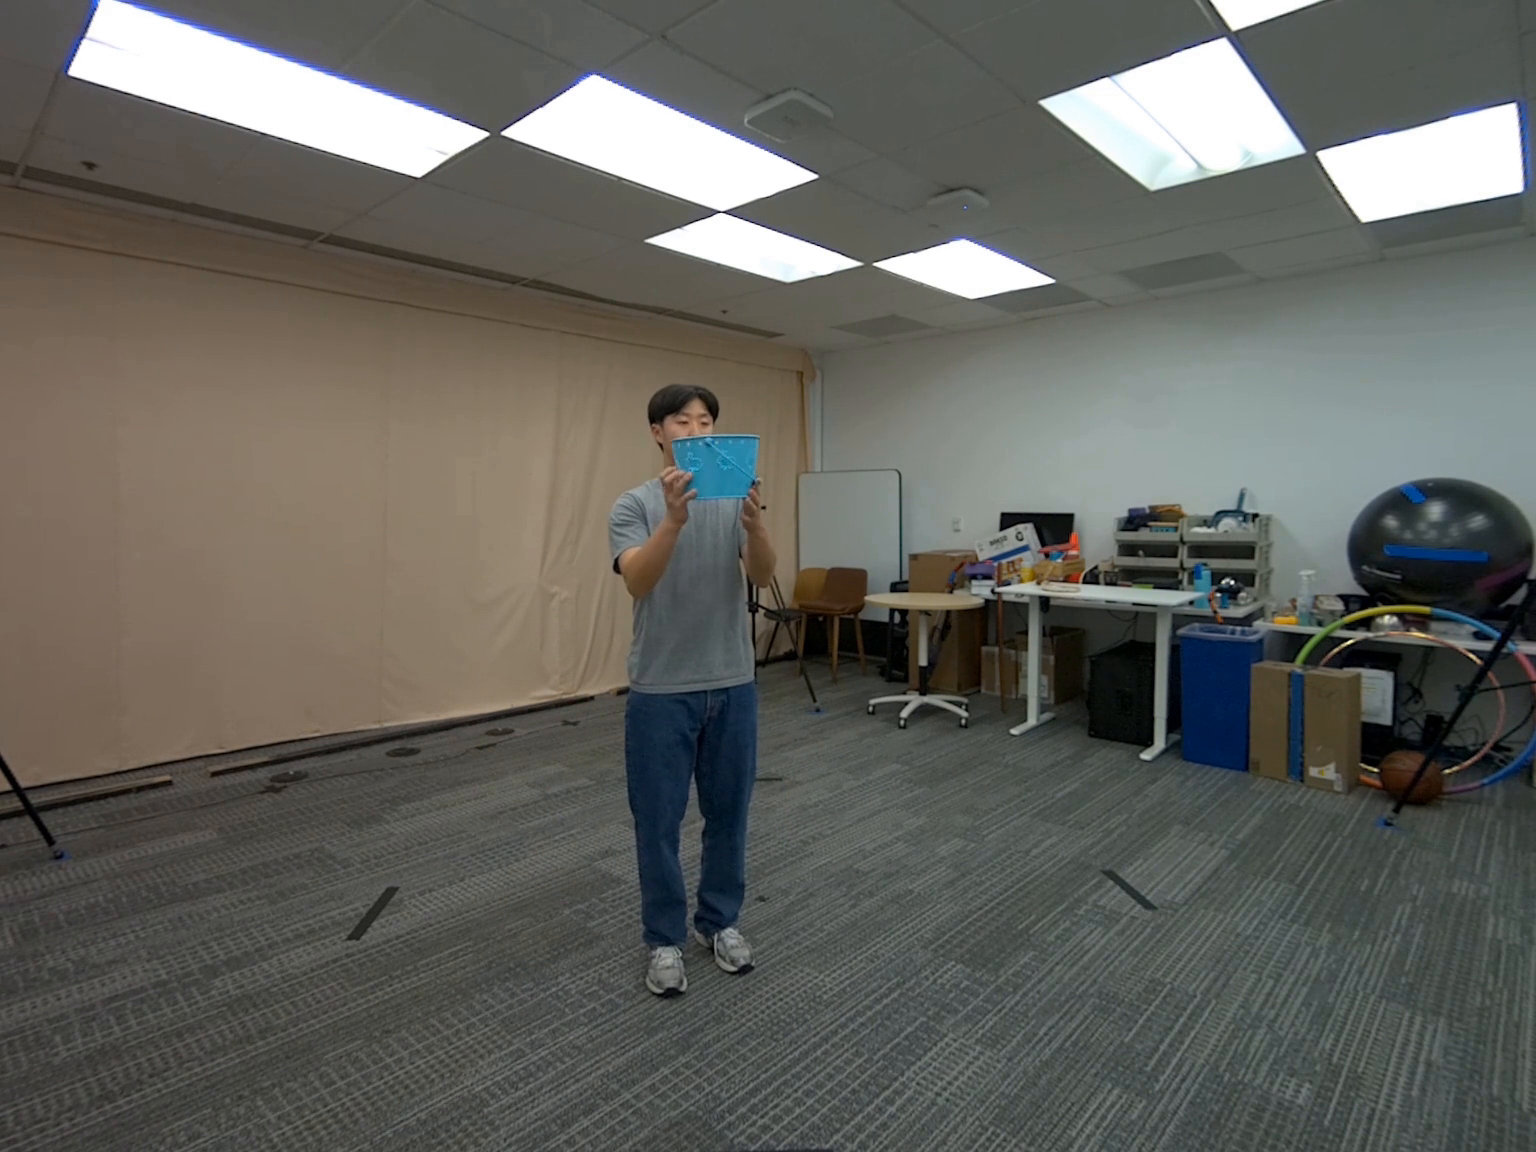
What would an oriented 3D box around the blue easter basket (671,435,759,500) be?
[{"bbox_3d":[-0.119,-0.274,2.136,0.243,0.155,0.244,-3,5,-2],"label":"blue easter basket"}]
